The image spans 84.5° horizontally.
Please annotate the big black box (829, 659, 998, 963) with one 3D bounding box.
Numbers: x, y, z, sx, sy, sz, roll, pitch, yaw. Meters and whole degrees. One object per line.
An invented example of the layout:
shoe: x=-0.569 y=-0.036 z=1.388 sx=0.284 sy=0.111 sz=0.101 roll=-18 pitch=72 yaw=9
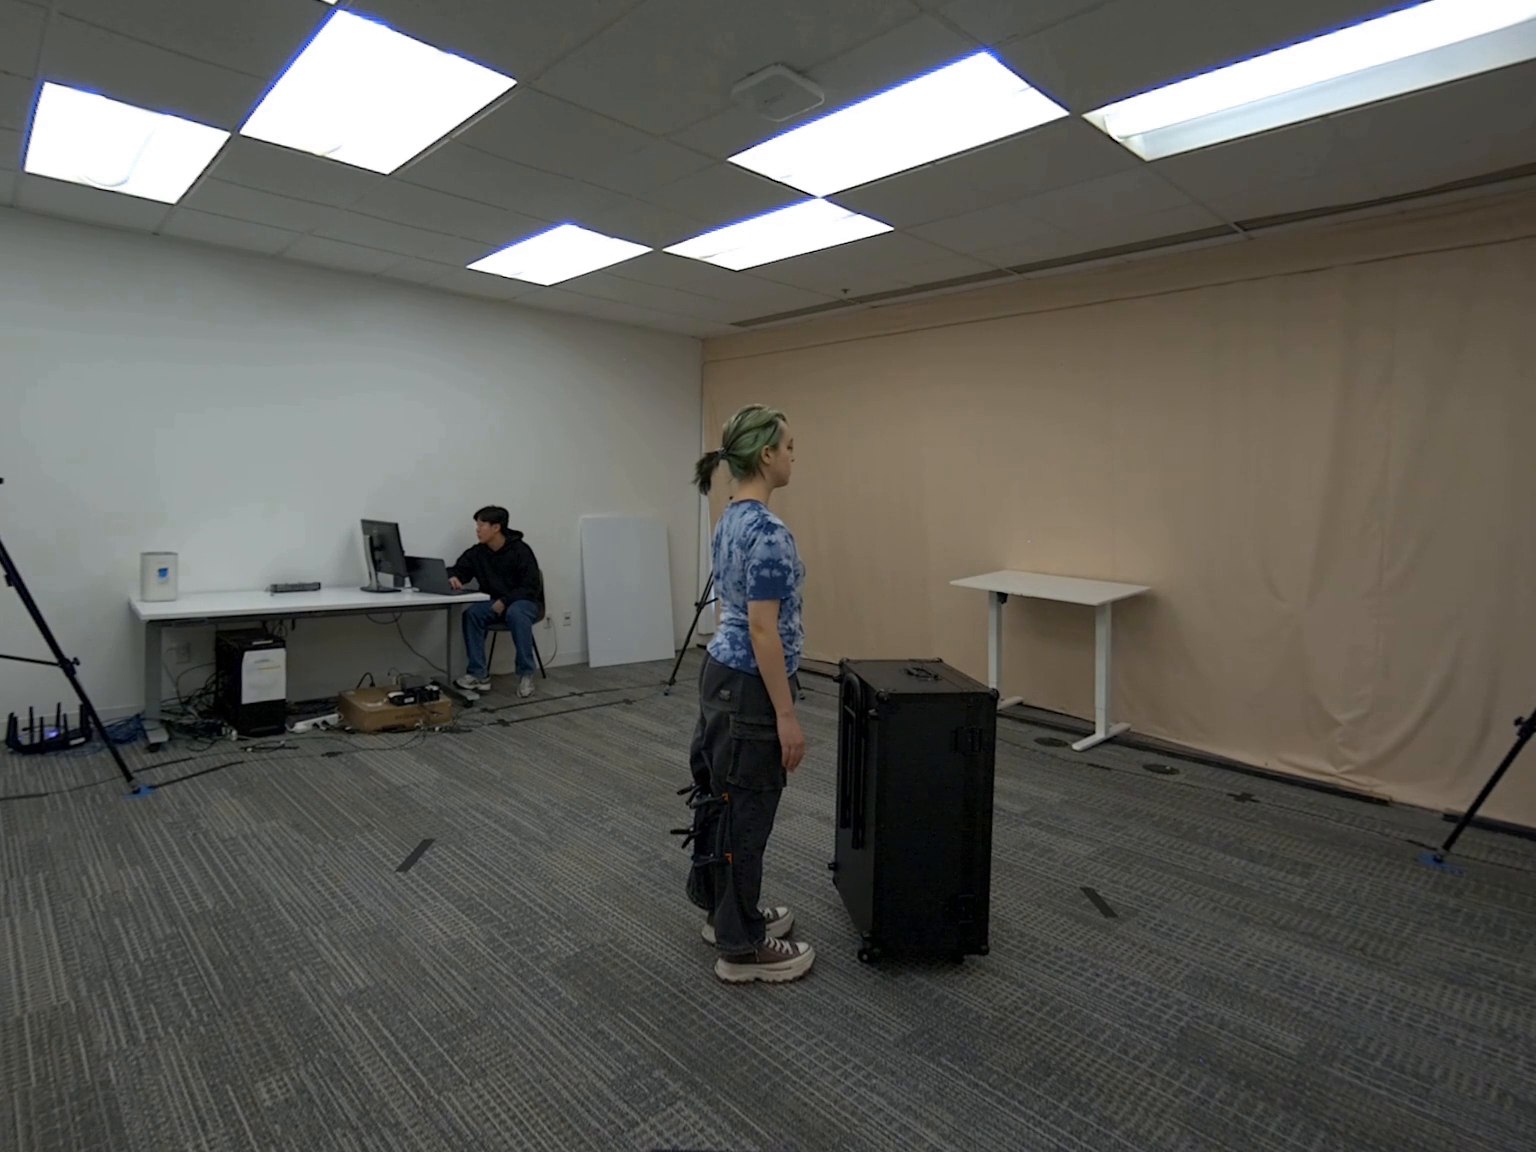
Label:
big black box: x=0.434 y=0.735 z=2.660 sx=0.394 sy=0.859 sz=0.525 roll=0 pitch=5 yaw=-7
